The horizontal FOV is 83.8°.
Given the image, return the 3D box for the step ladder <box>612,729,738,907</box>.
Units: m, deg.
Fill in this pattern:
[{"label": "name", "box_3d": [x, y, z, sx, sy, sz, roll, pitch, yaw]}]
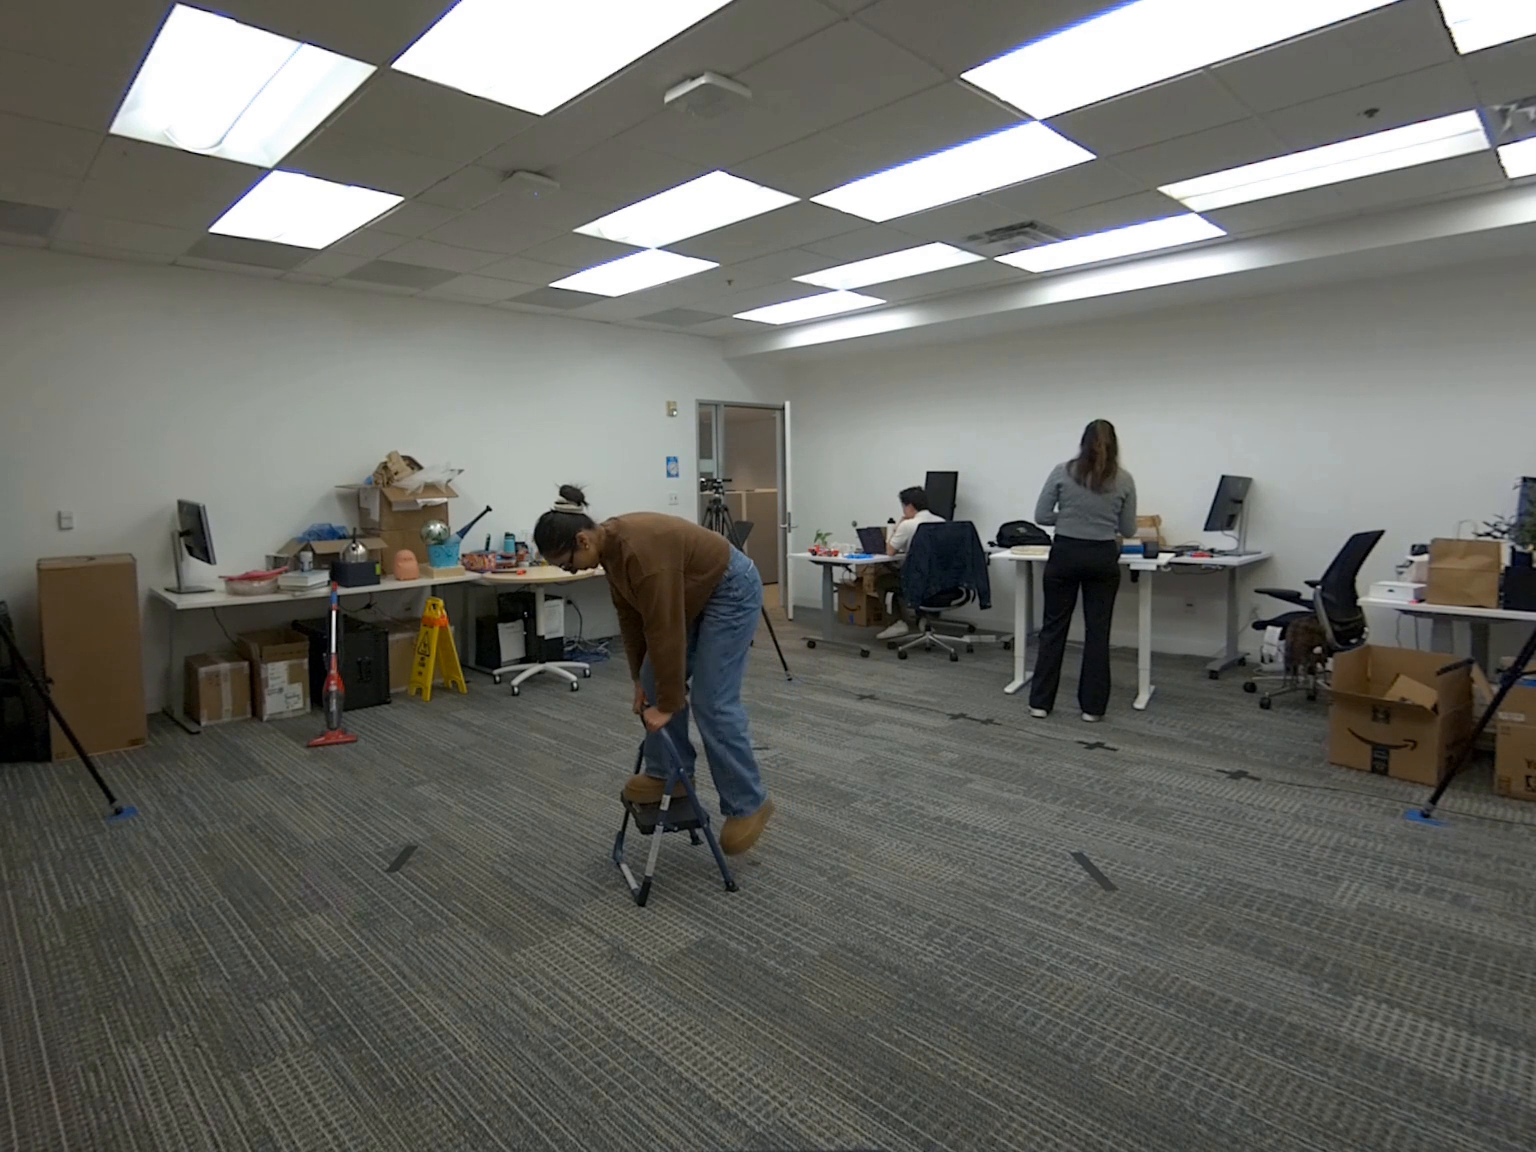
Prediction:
[{"label": "step ladder", "box_3d": [-0.342, 0.757, 3.027, 0.343, 0.604, 0.440, -2, 5, -22]}]
